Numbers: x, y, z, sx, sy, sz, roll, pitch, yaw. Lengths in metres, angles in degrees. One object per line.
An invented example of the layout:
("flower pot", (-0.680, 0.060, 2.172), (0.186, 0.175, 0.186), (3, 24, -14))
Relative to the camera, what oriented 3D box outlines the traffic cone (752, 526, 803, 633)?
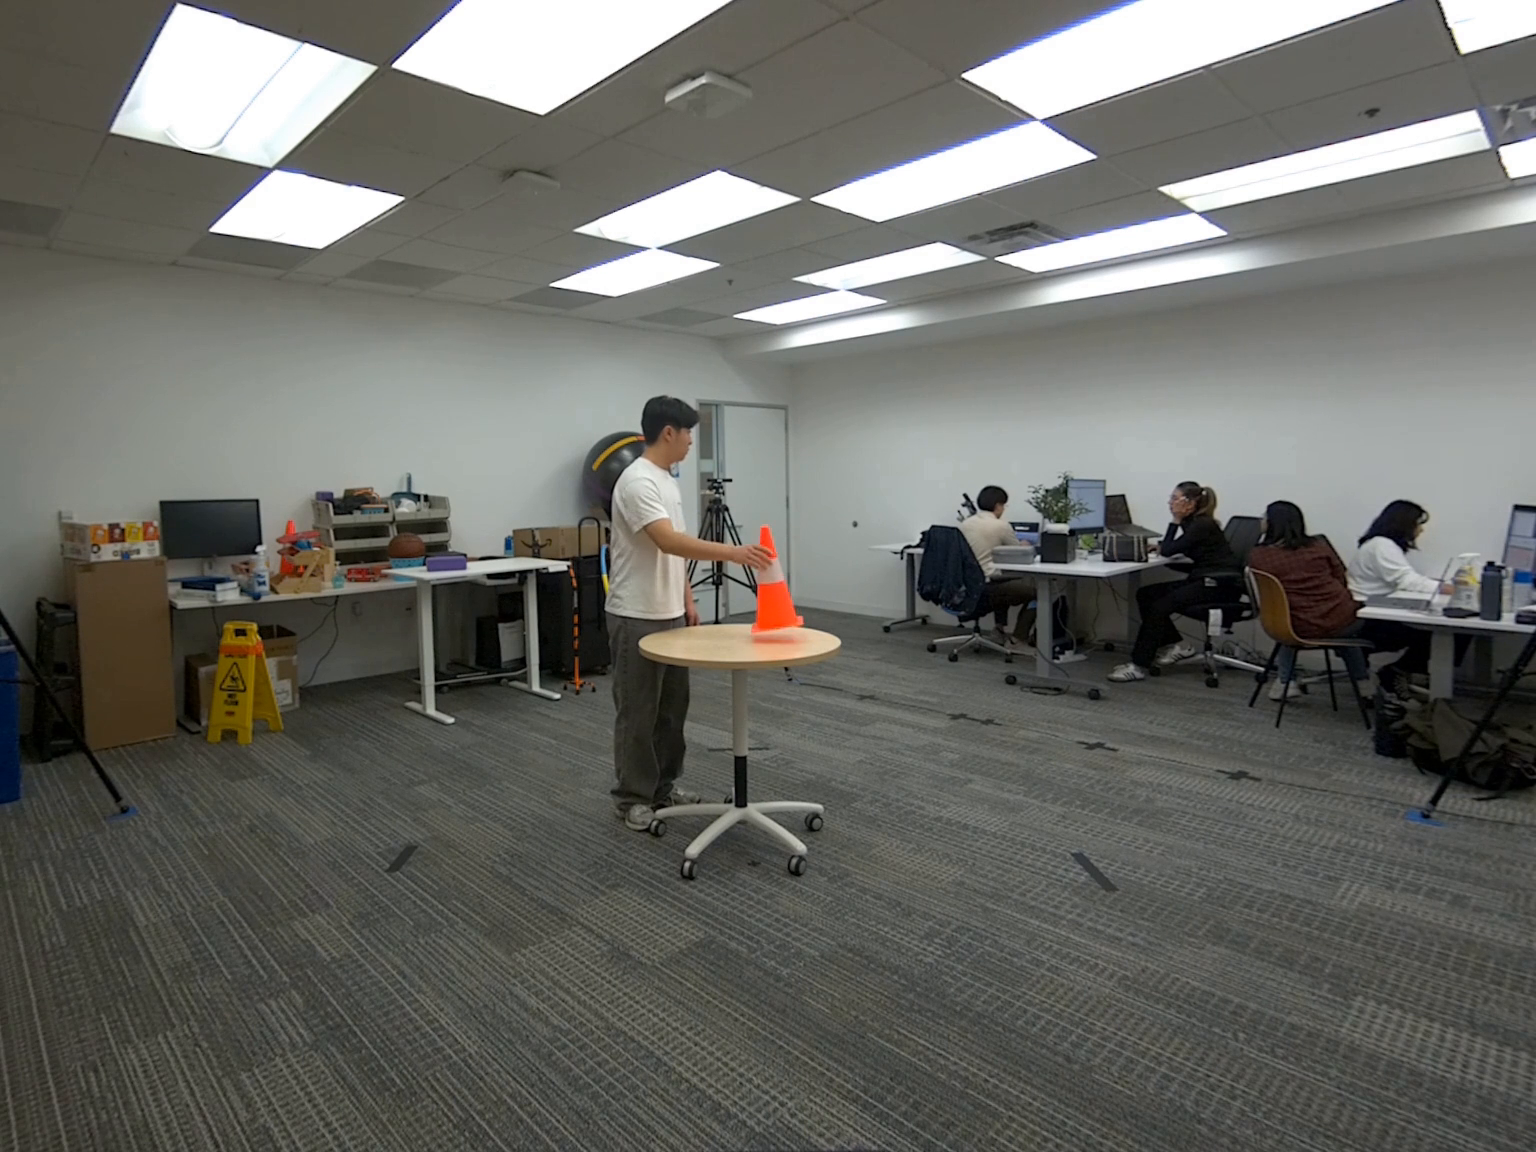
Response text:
("traffic cone", (0.002, 0.002, 3.262), (0.204, 0.382, 0.205), (-6, 6, 6))
